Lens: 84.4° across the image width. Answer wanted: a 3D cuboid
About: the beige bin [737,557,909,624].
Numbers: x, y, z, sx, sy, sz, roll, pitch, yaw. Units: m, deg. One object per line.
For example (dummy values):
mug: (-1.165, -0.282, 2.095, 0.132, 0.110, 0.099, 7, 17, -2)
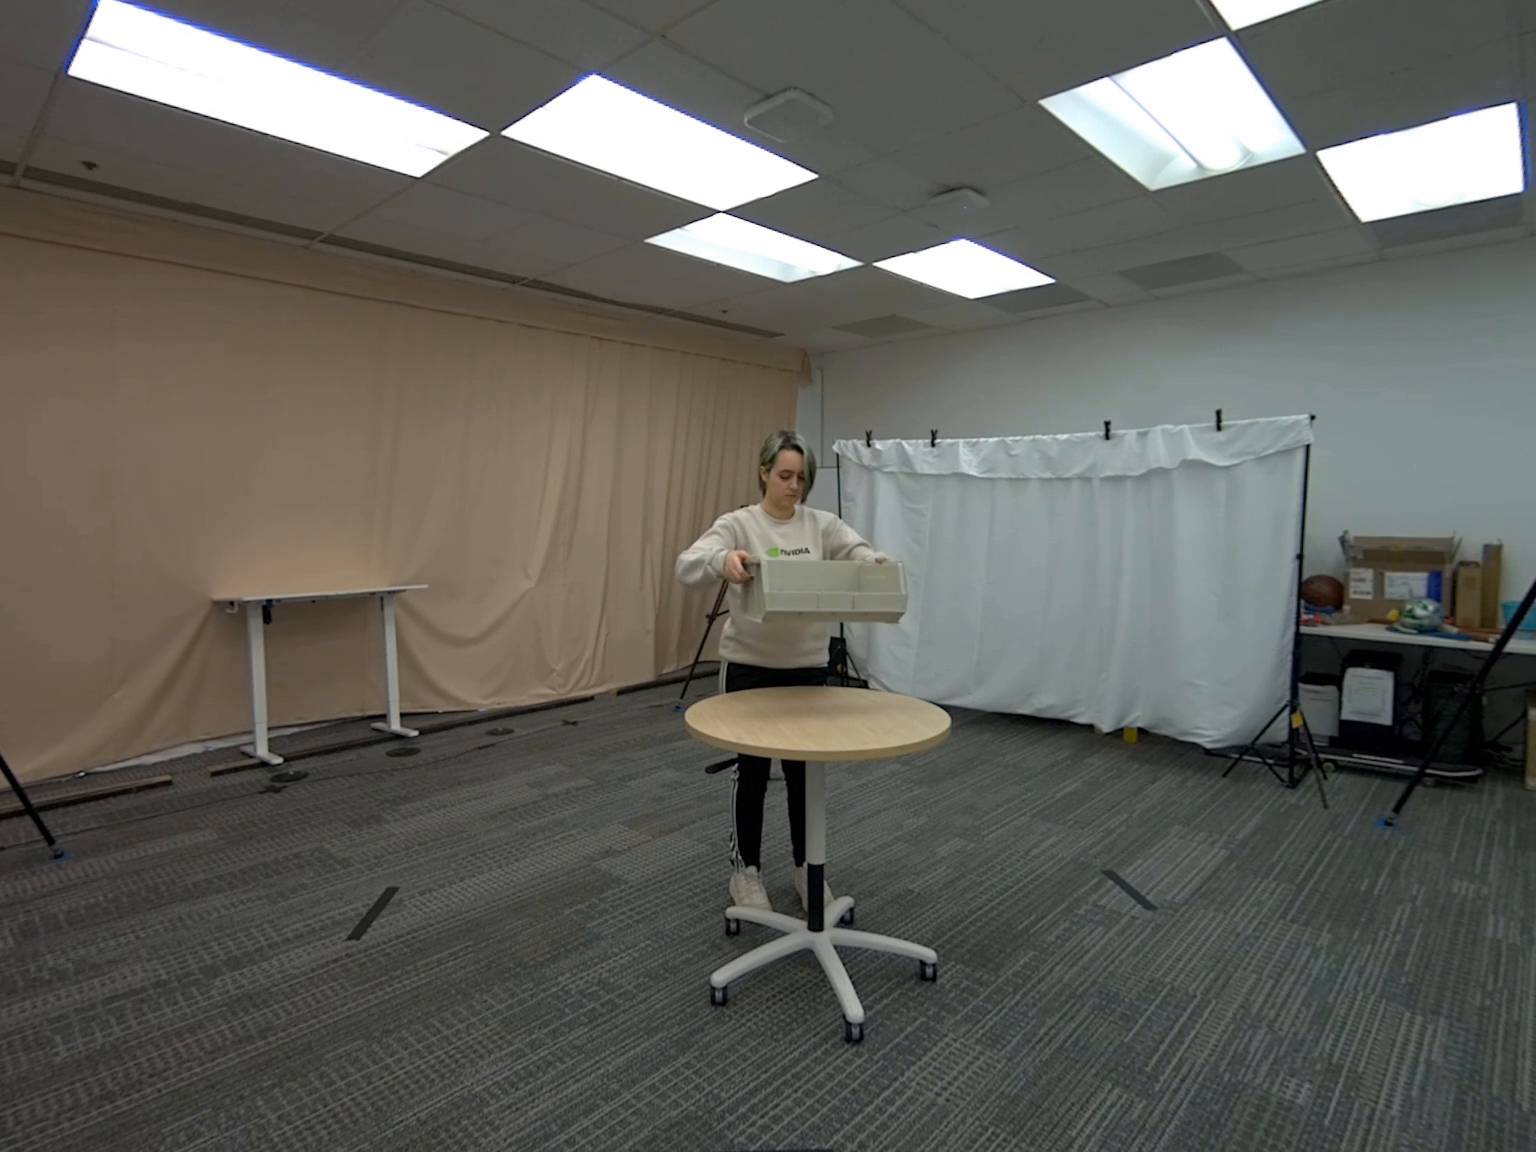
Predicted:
beige bin: (0.144, 0.049, 2.482, 0.417, 0.189, 0.382, 2, 0, -11)
